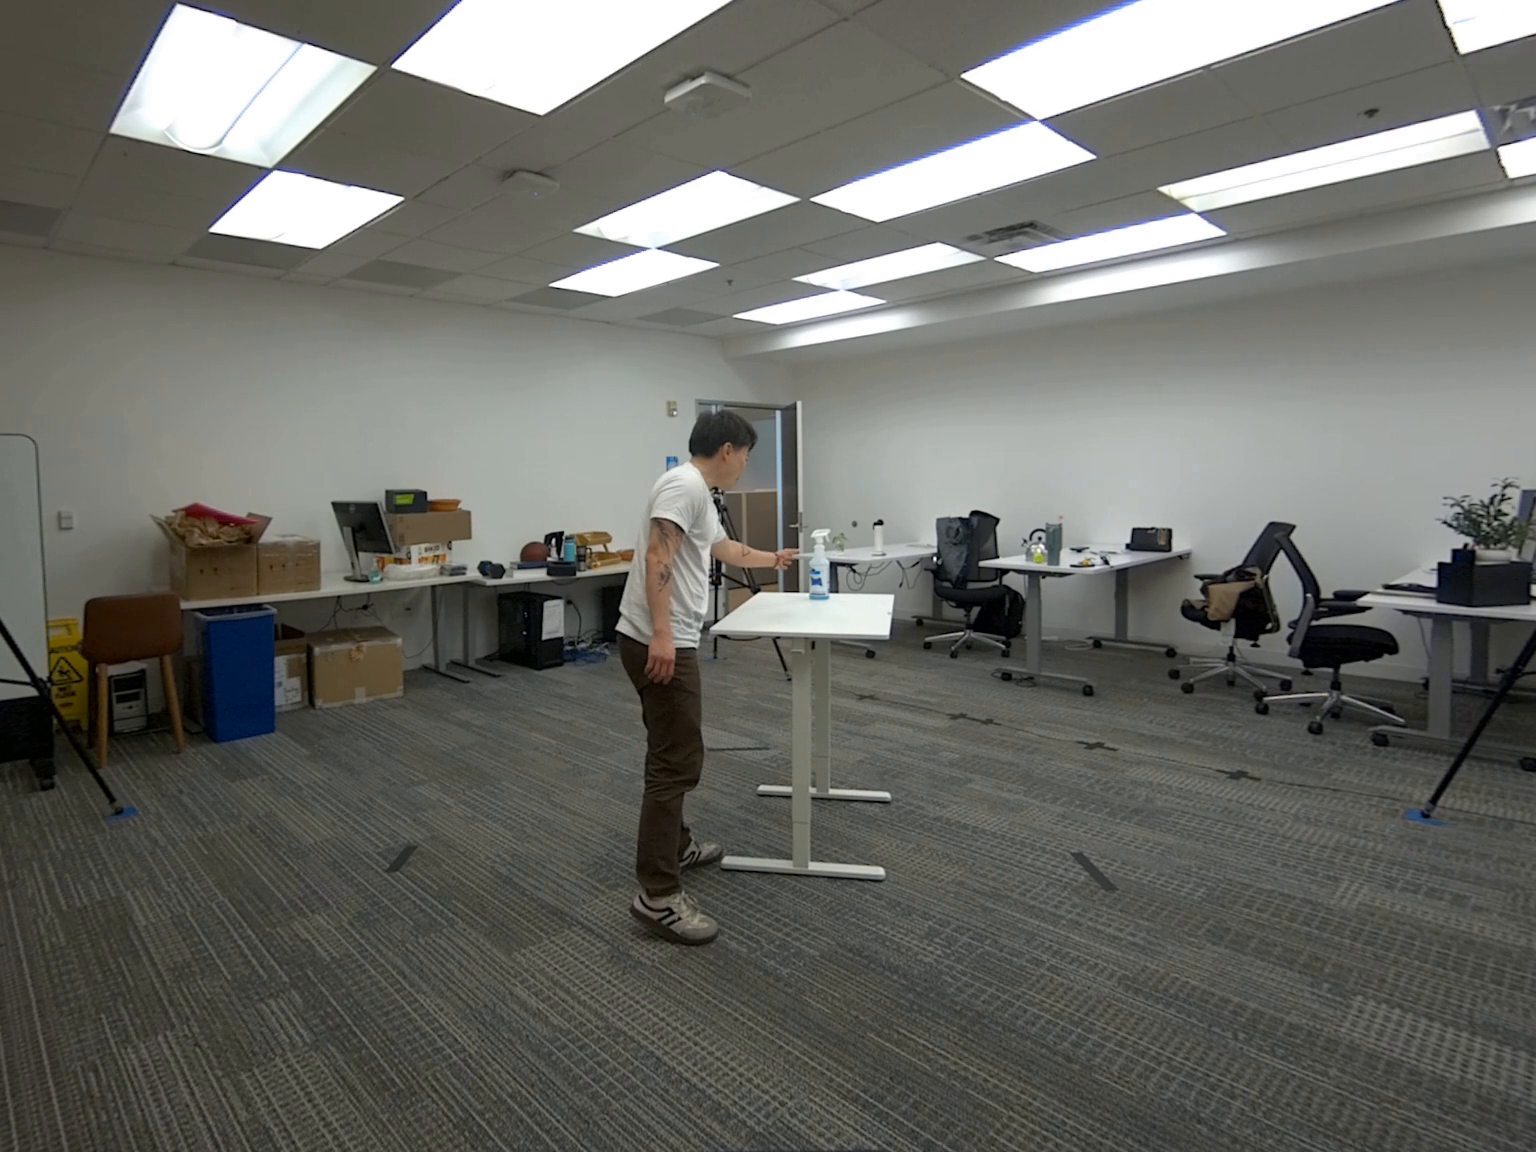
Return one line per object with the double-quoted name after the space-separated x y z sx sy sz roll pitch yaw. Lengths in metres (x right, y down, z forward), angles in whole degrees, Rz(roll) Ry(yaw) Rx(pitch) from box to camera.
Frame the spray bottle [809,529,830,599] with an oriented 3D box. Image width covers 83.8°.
0.223 -0.048 3.647 0.090 0.296 0.087 1 3 -1 "spray bottle"
